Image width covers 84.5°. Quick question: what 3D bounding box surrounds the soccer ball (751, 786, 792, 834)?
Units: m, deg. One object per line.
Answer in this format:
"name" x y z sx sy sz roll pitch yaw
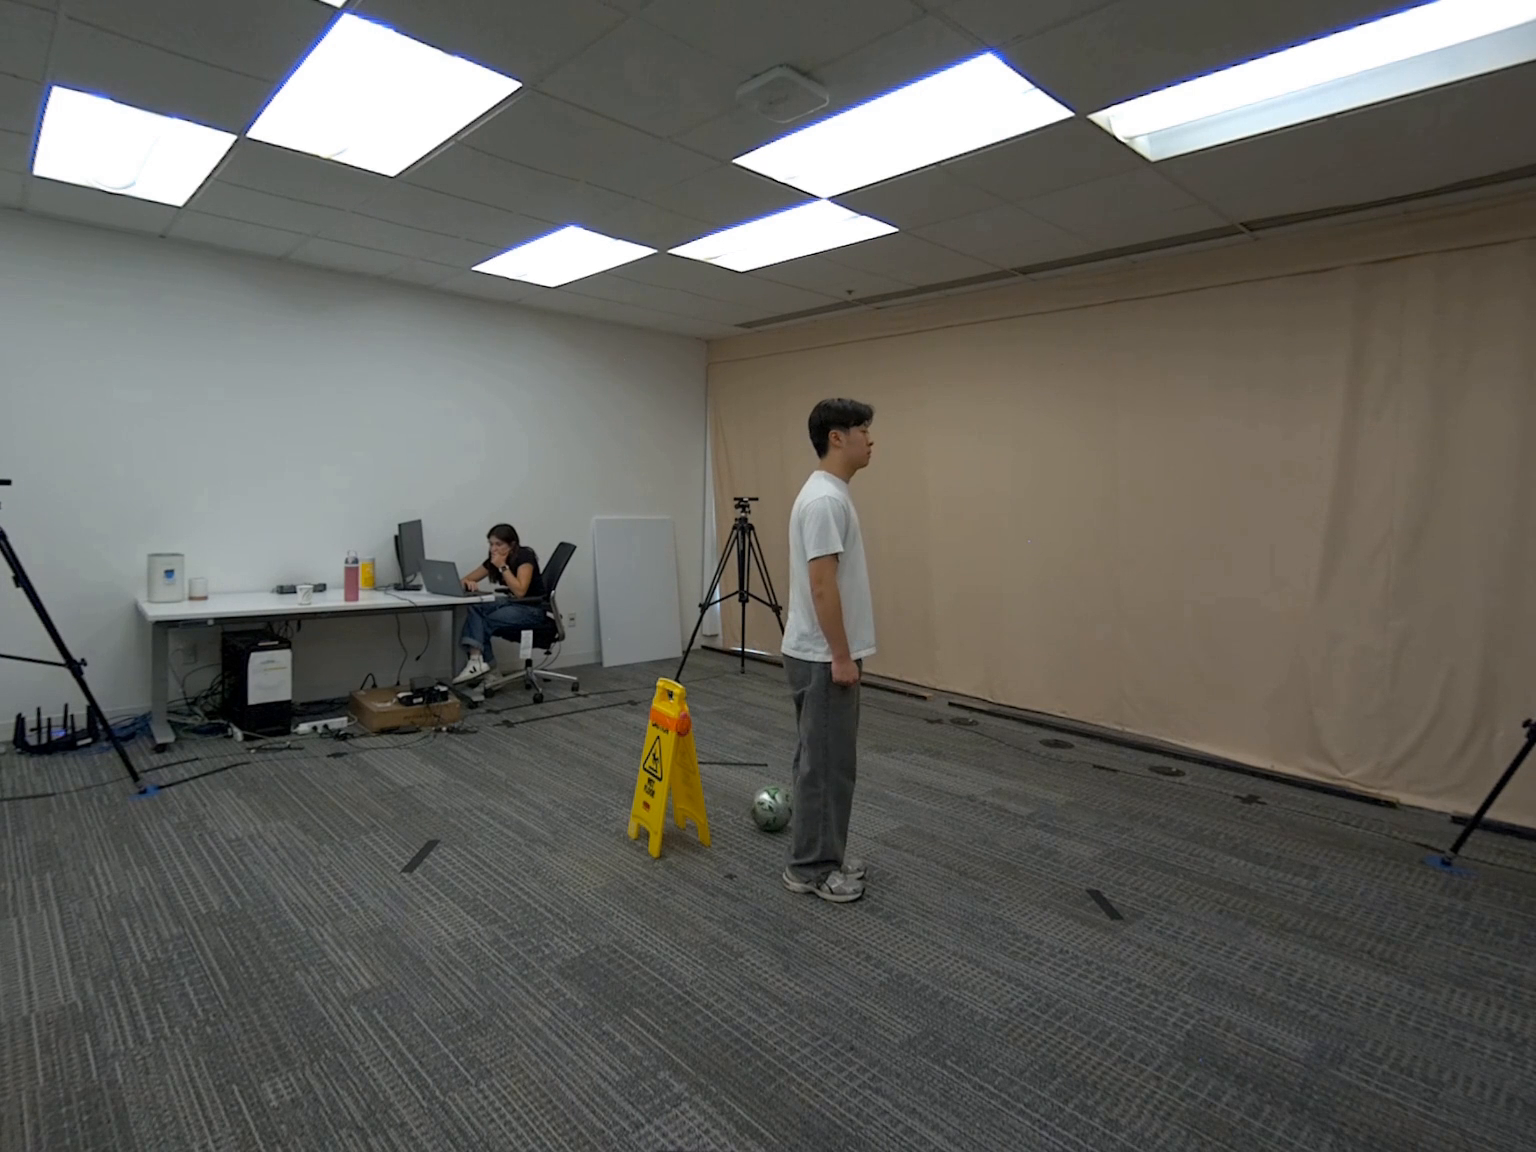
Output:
"soccer ball" -0.007 0.985 3.548 0.187 0.187 0.188 1 4 -1
